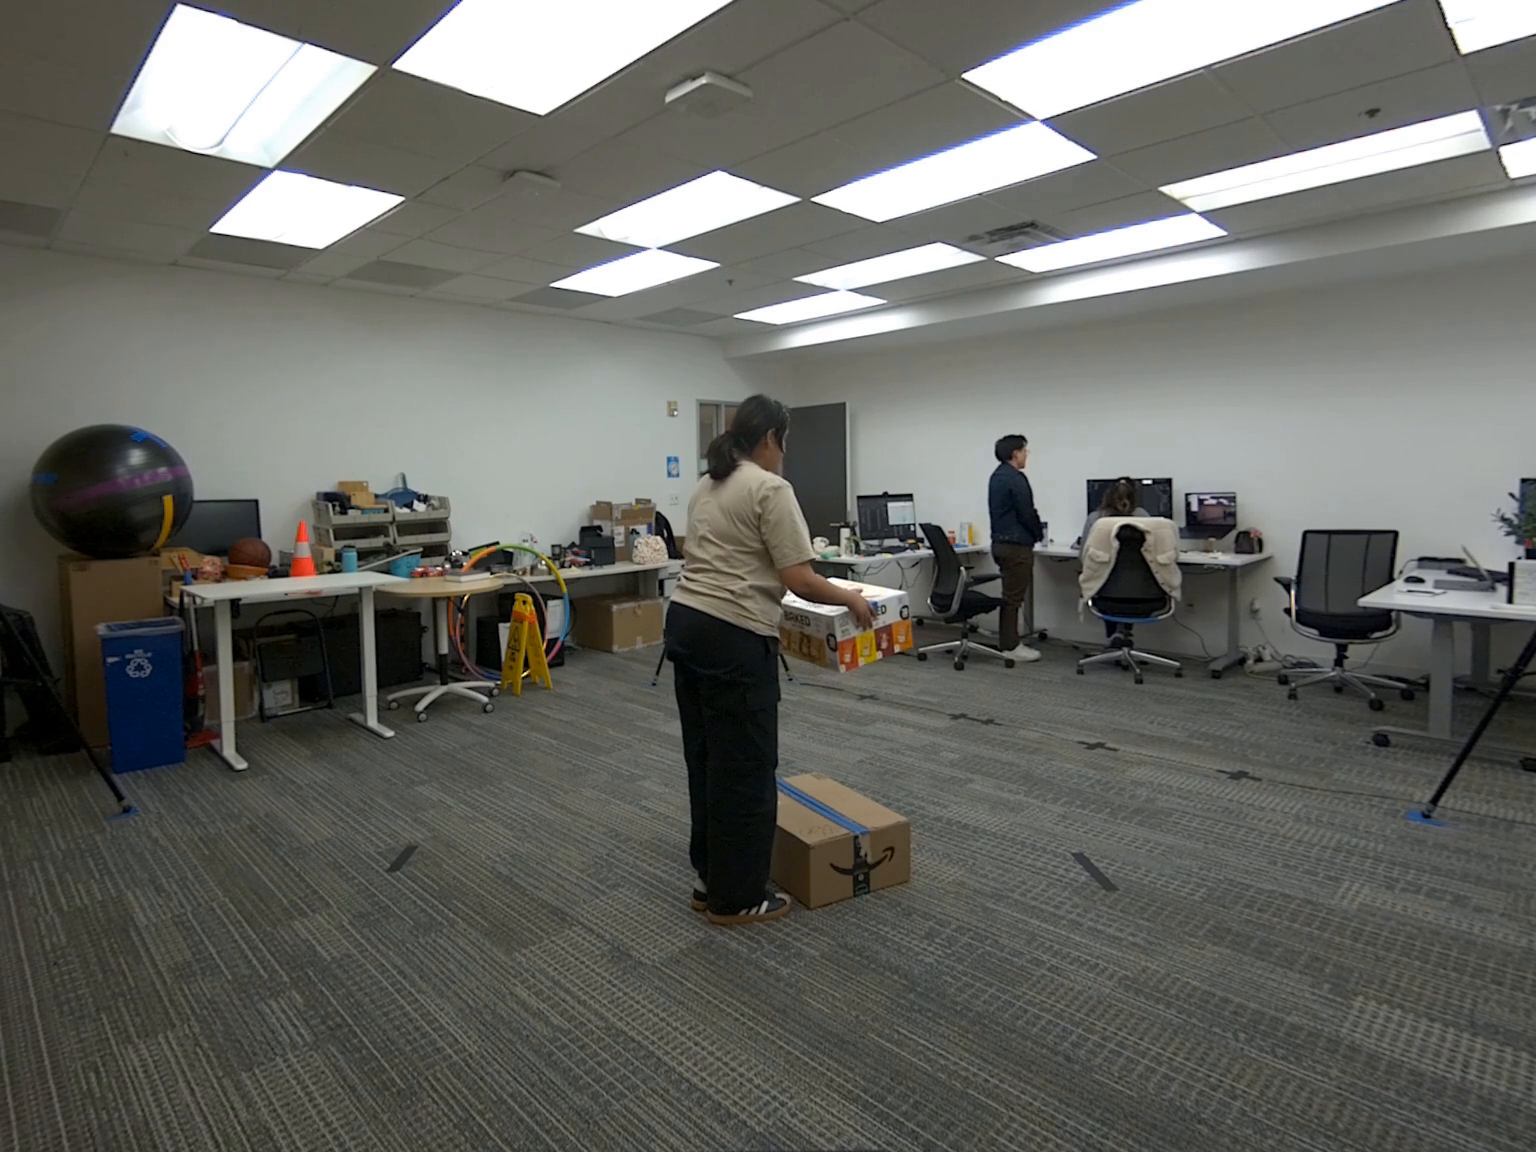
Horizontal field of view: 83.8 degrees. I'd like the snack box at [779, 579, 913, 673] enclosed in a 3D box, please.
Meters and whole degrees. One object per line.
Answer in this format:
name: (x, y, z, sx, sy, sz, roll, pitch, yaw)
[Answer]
snack box: (0.244, 0.167, 3.078, 0.334, 0.203, 0.418, -15, 15, -32)
